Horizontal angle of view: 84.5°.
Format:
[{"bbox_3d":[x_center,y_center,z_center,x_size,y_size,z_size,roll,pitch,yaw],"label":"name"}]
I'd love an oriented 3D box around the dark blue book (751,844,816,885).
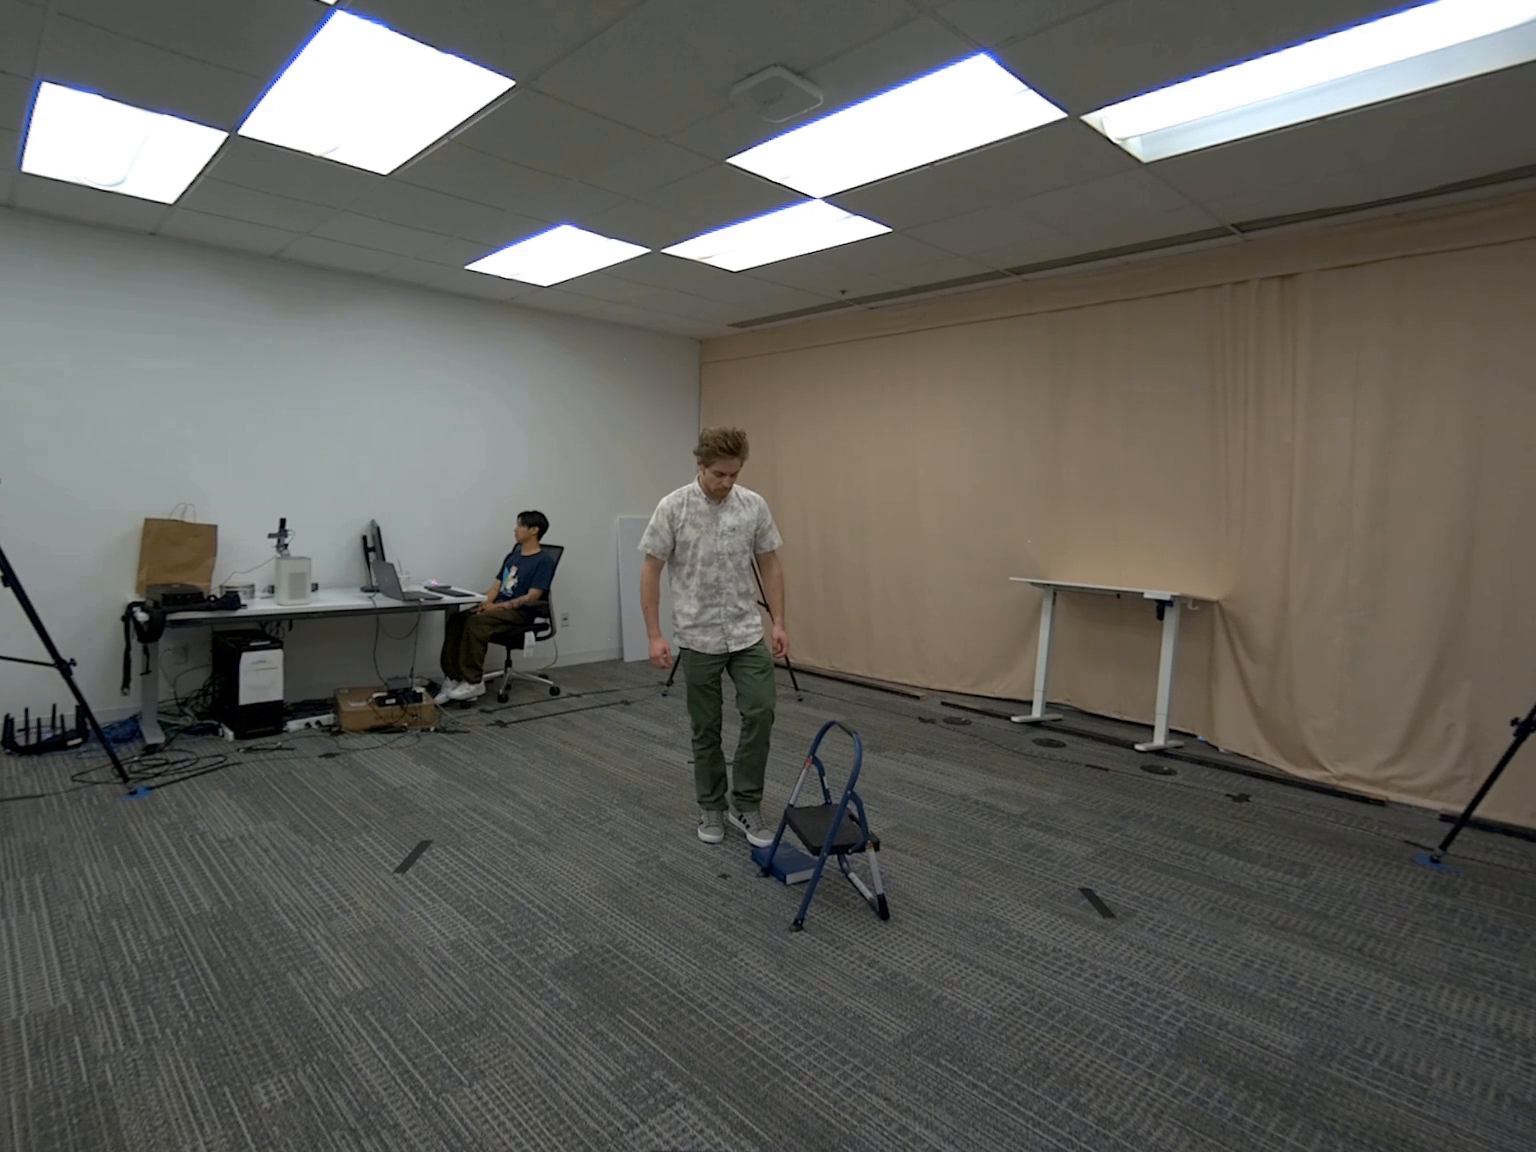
[{"bbox_3d":[0.063,1.083,3.178,0.160,0.045,0.251,-2,6,-32],"label":"dark blue book"}]
